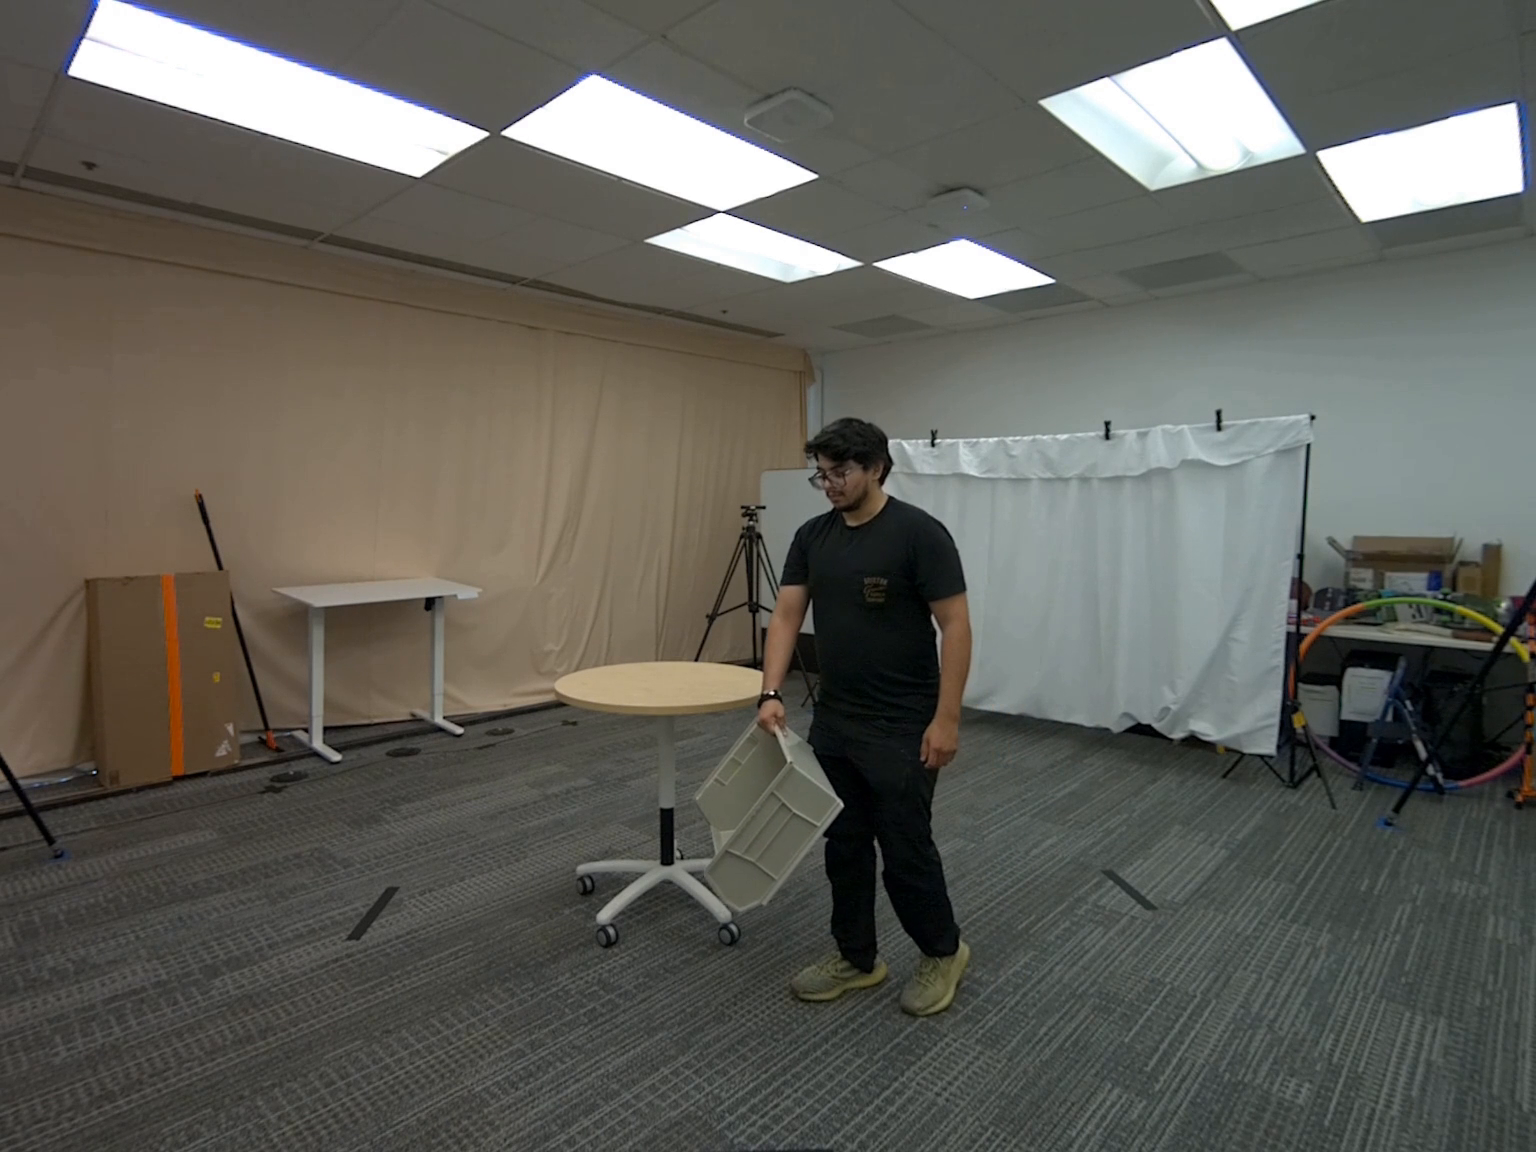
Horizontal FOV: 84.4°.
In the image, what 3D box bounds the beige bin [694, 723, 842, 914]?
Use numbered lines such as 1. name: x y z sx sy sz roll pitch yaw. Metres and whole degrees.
1. beige bin: -0.043 0.610 2.200 0.188 0.378 0.423 40 7 -5
